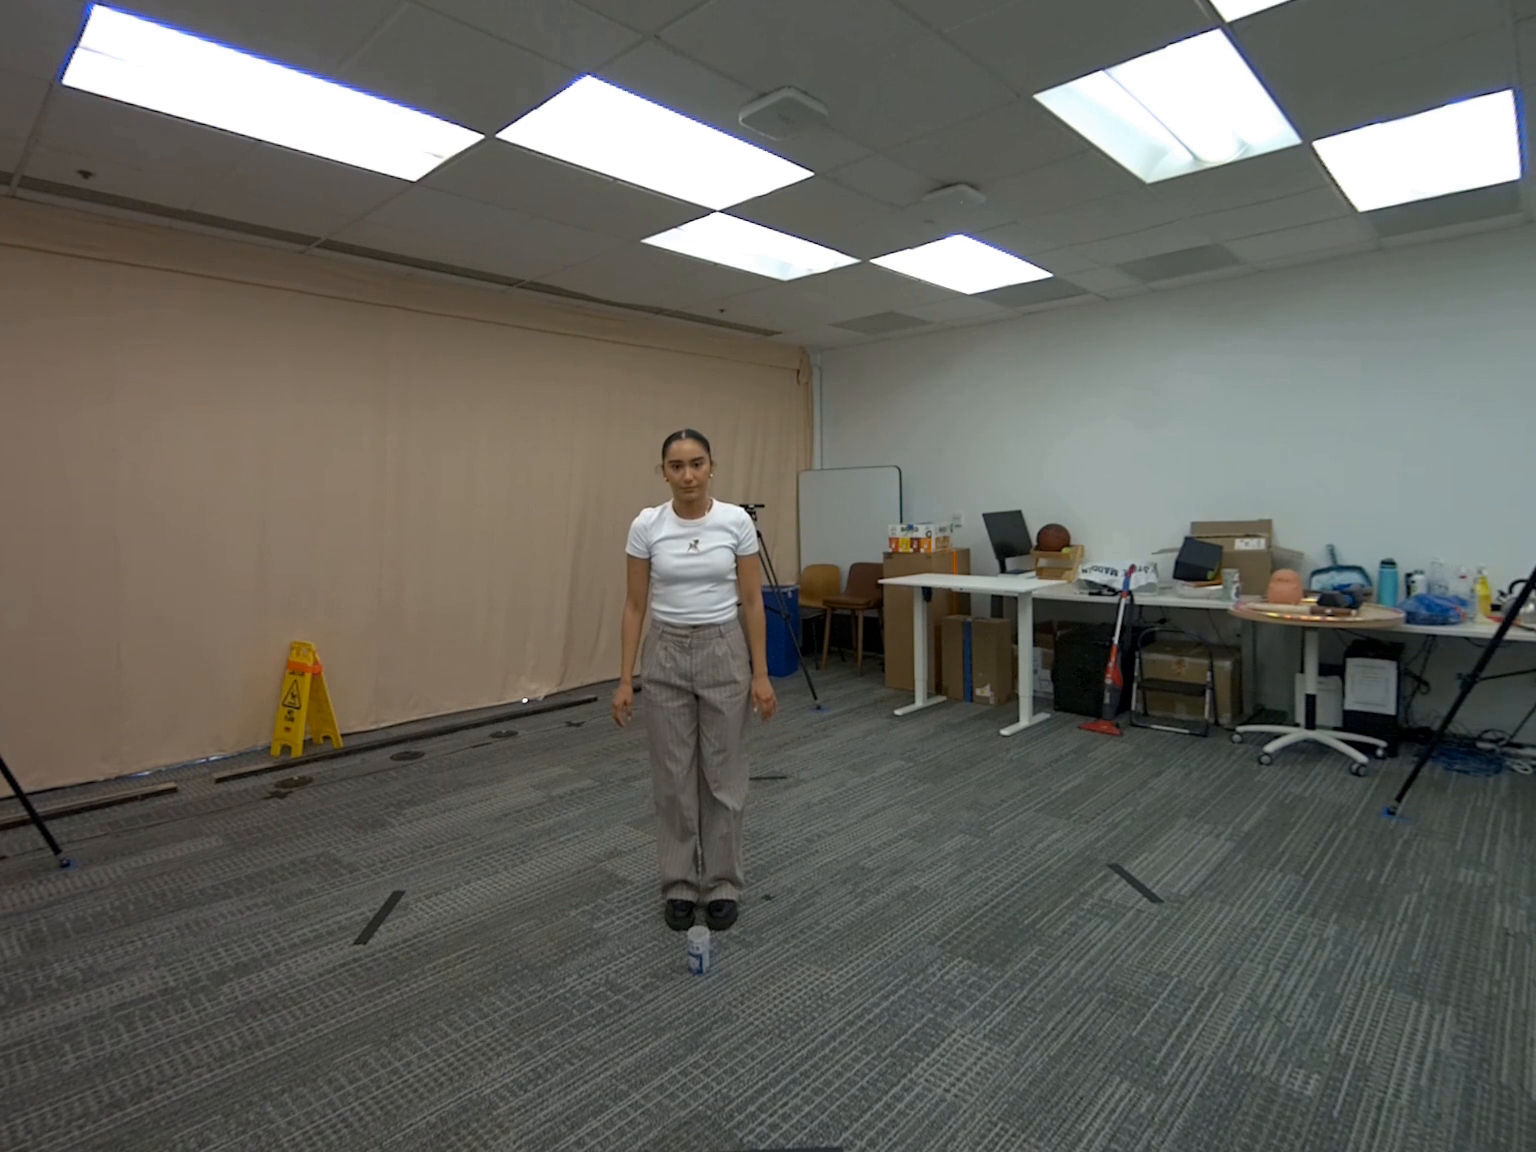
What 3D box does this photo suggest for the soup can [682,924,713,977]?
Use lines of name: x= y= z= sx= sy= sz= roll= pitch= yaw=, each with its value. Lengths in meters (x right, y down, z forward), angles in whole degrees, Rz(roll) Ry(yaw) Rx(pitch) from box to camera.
soup can: x=-0.206 y=1.116 z=2.523 sx=0.067 sy=0.121 sz=0.067 roll=-2 pitch=6 yaw=-2
